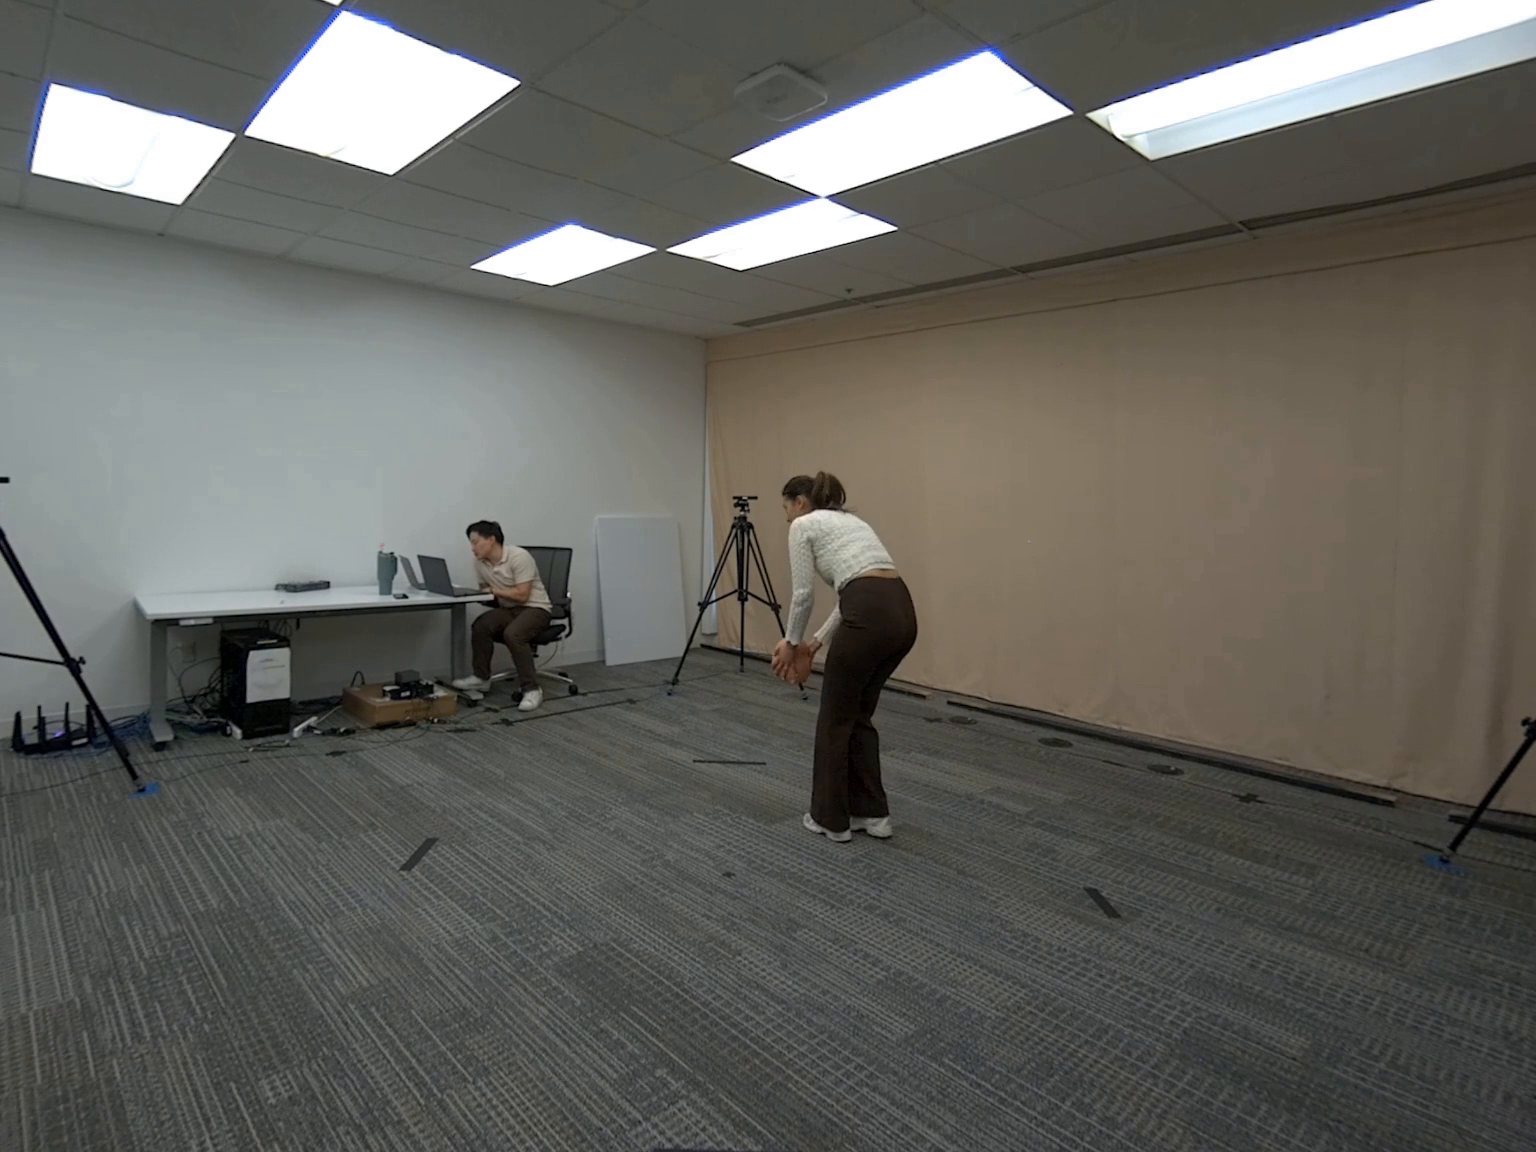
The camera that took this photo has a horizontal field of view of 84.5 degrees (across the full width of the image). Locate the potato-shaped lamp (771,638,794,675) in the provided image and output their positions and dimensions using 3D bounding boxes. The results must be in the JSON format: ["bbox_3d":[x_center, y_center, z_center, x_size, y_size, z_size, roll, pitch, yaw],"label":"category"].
[{"bbox_3d":[0.114,0.378,3.744,0.175,0.197,0.162,20,10,24],"label":"potato-shaped lamp"}]
